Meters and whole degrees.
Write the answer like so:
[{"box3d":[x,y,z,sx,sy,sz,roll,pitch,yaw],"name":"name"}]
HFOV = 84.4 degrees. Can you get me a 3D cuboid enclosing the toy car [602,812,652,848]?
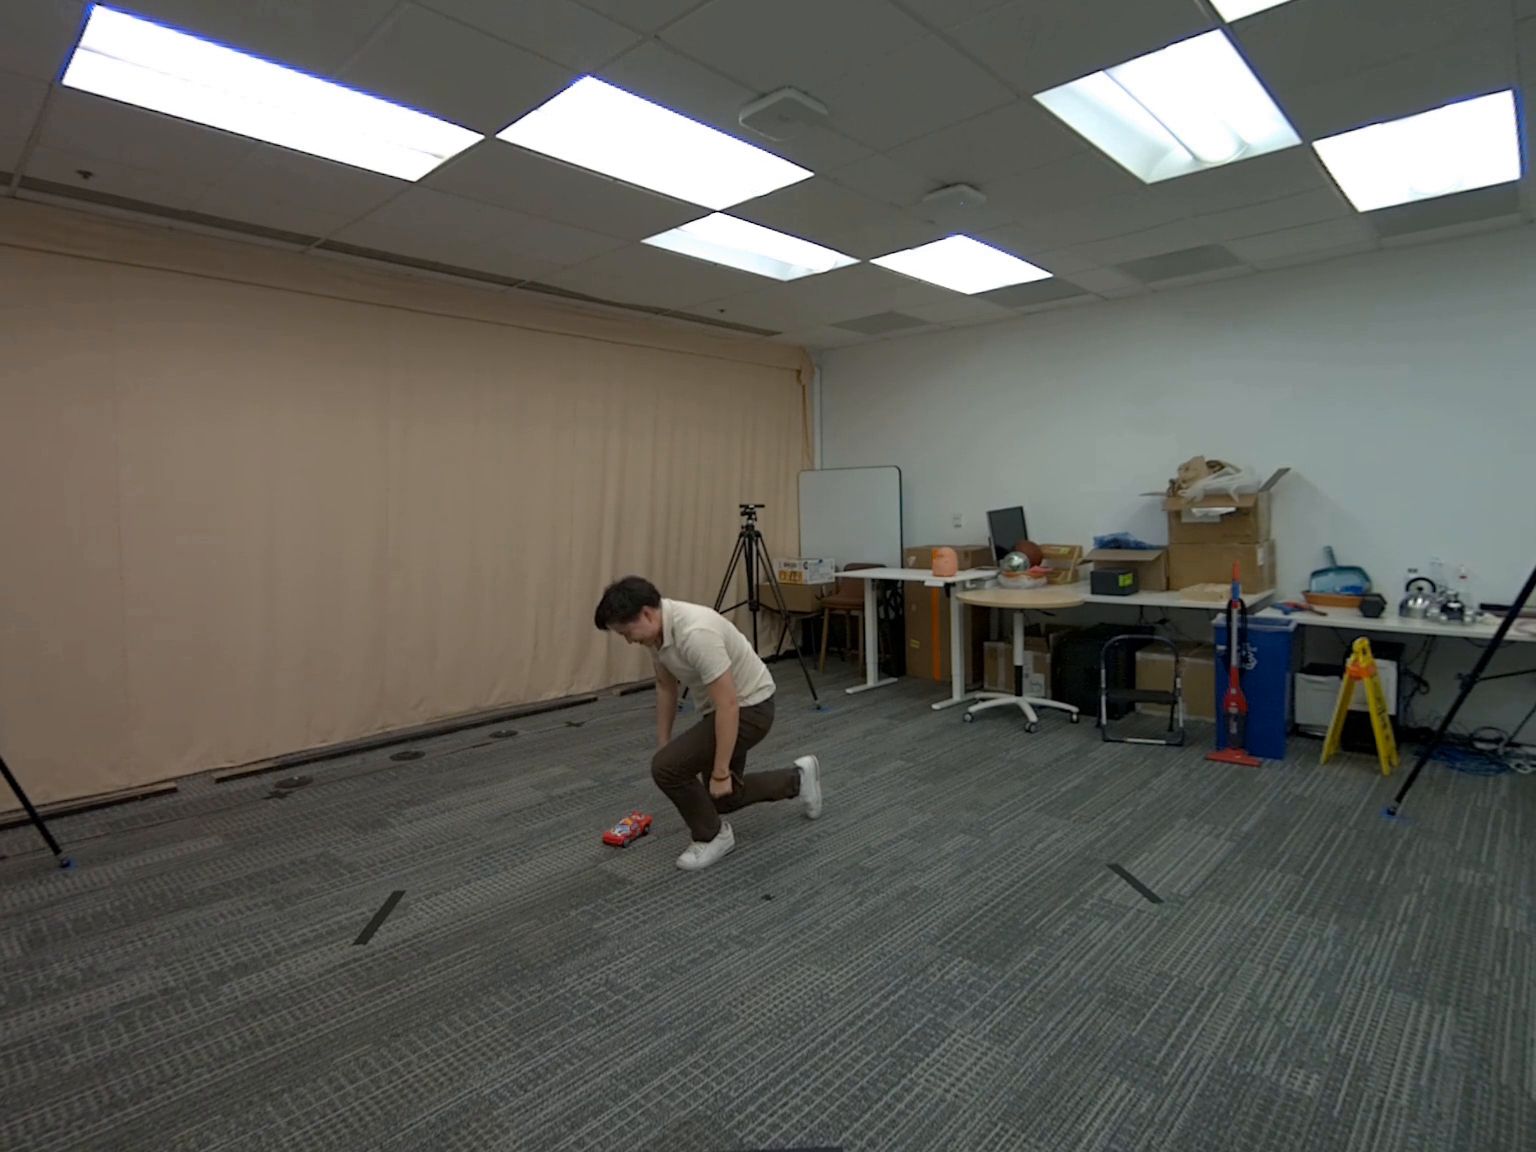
[{"box3d":[-0.590,1.075,3.561,0.134,0.082,0.250,-1,15,27],"name":"toy car"}]
